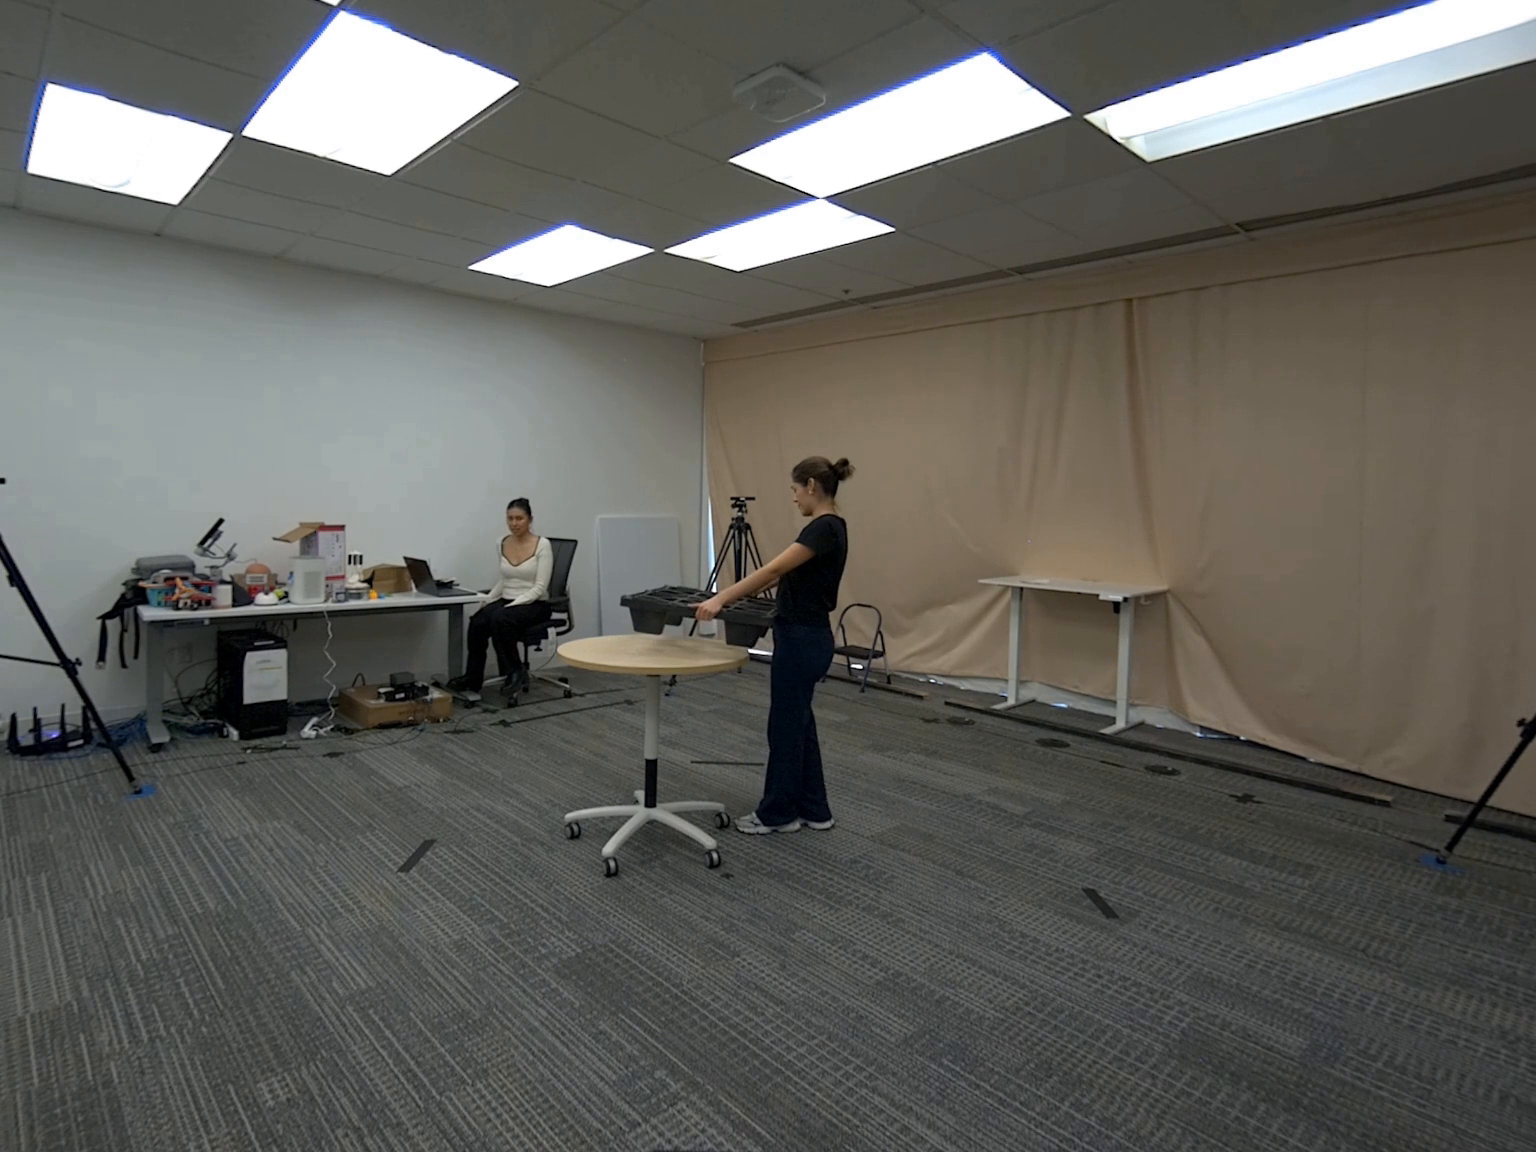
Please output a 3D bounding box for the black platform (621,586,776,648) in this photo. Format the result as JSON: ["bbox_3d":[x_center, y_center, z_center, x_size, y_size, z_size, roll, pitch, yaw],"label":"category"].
[{"bbox_3d":[-0.245,0.168,3.592,0.609,0.143,0.801,7,4,7],"label":"black platform"}]
